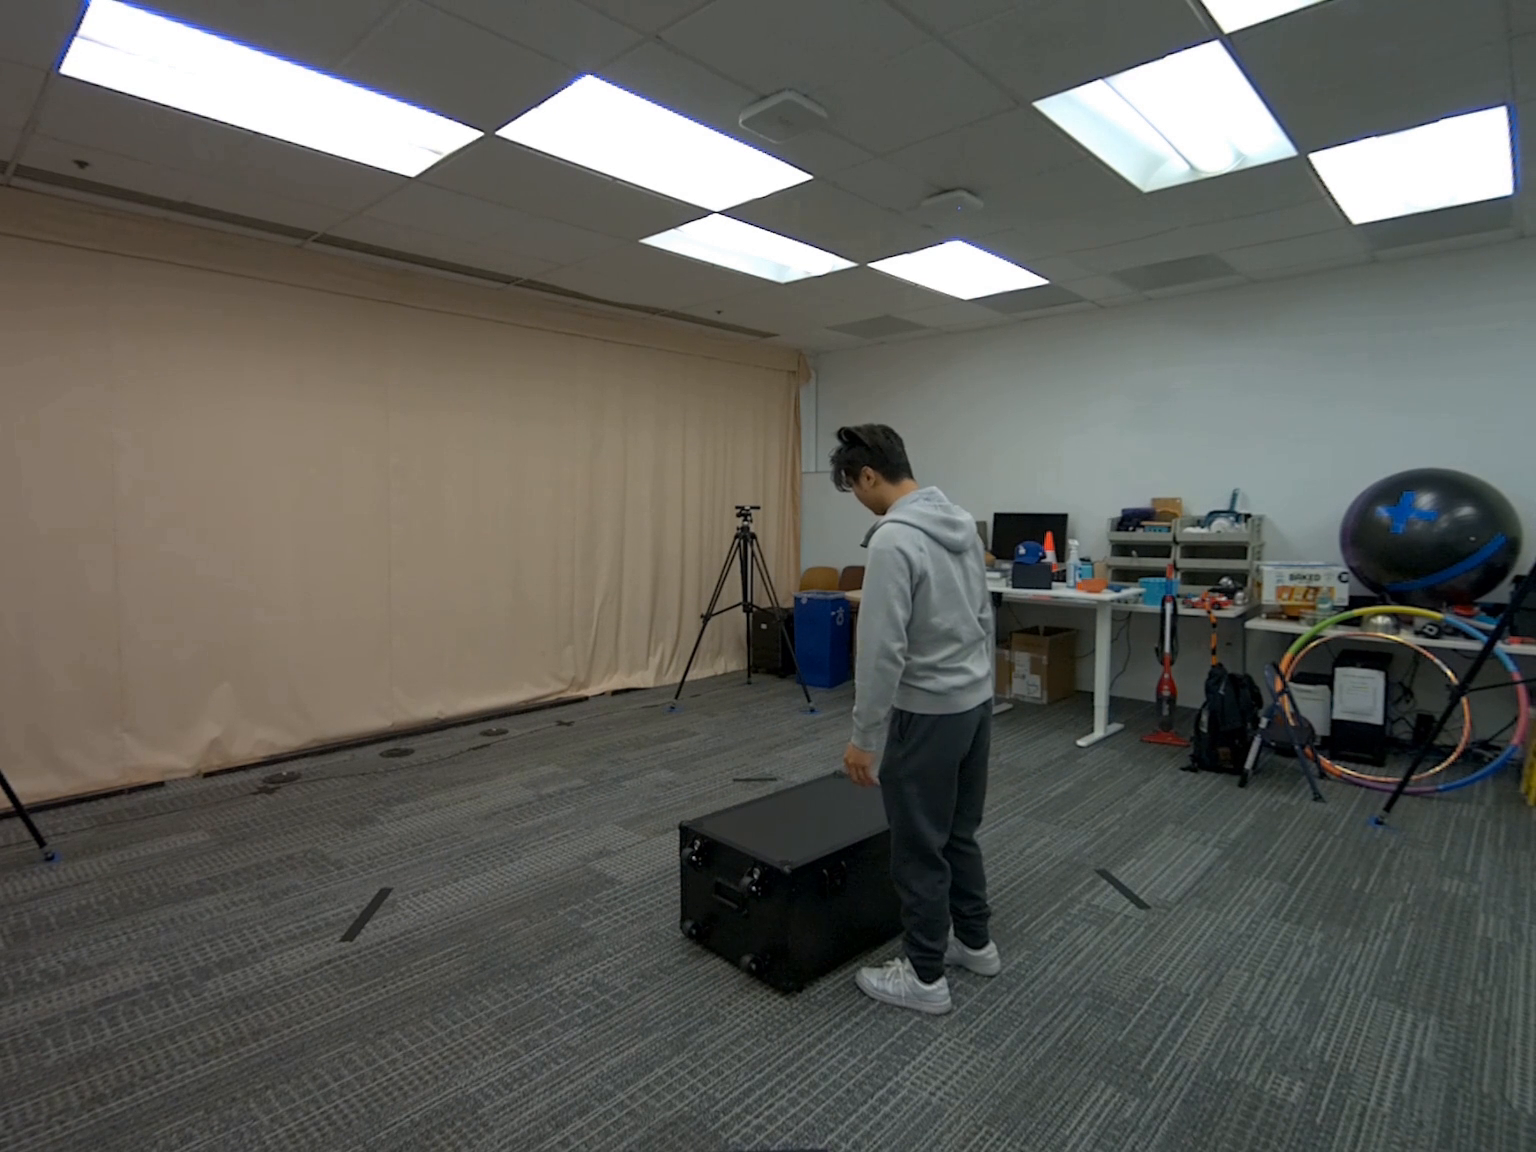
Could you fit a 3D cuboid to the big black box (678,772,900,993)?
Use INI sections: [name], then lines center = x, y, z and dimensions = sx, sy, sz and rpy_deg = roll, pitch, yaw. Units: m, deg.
[big black box]
center = 0.138, 0.972, 2.769
dimensions = 0.835, 0.395, 0.539
rpy_deg = -4, 6, -44
